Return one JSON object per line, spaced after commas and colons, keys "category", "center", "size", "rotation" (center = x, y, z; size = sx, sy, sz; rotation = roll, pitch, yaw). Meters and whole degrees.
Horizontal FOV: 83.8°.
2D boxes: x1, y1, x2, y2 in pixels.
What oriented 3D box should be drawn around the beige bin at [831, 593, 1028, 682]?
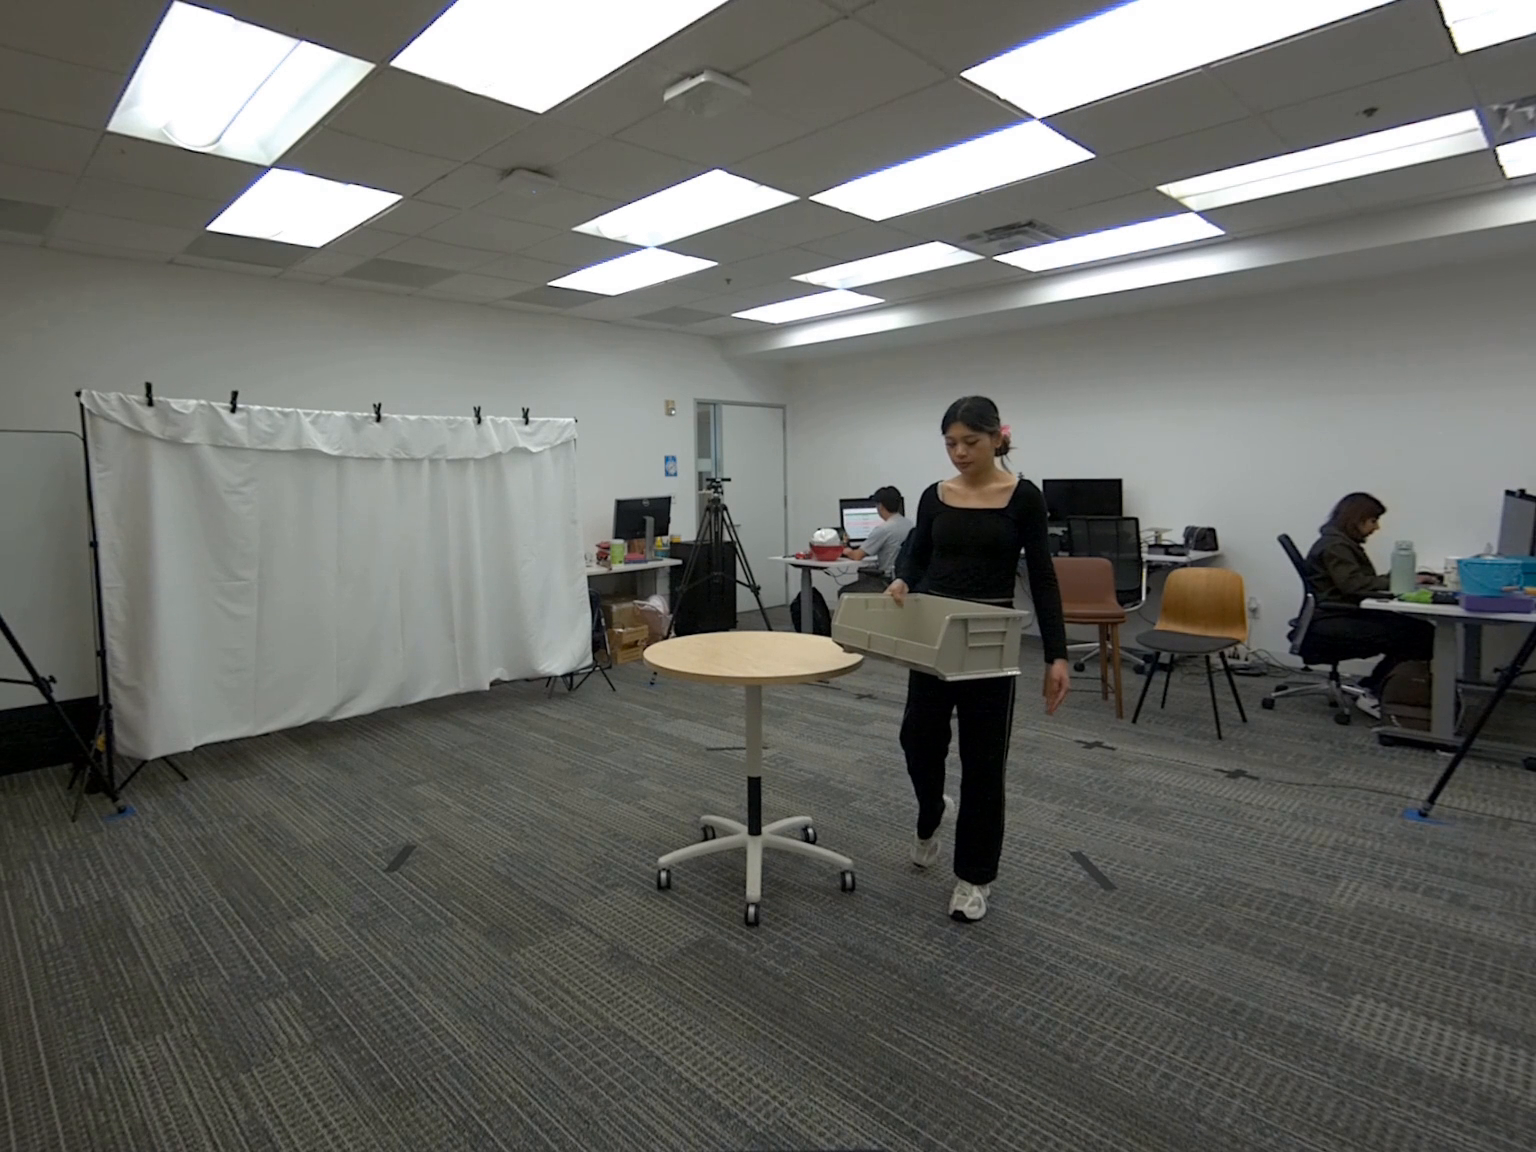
{"category": "beige bin", "center": [0.462, 0.167, 2.500], "size": [0.367, 0.188, 0.435], "rotation": [3, 5, -35]}
